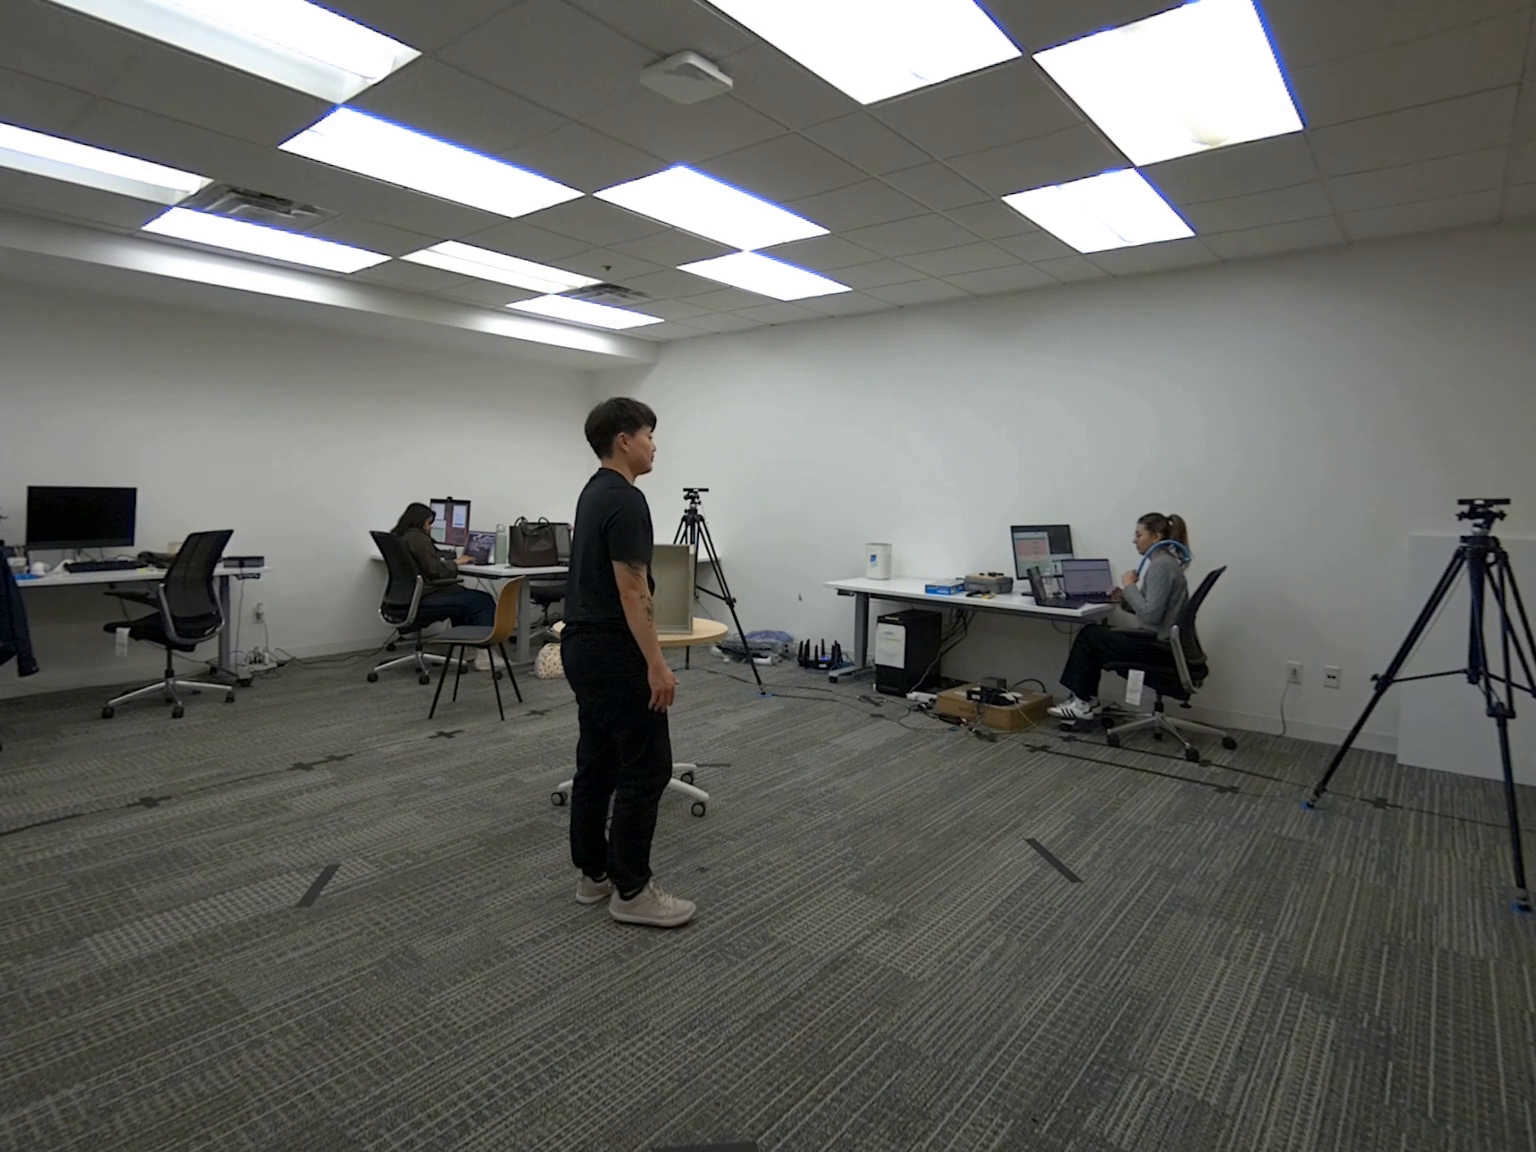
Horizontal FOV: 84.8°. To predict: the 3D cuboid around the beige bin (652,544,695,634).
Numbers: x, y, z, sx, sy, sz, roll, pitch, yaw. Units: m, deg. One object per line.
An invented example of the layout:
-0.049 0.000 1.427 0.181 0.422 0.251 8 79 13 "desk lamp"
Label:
-0.537 0.049 3.626 0.422 0.378 0.189 0 -1 -2 "beige bin"
